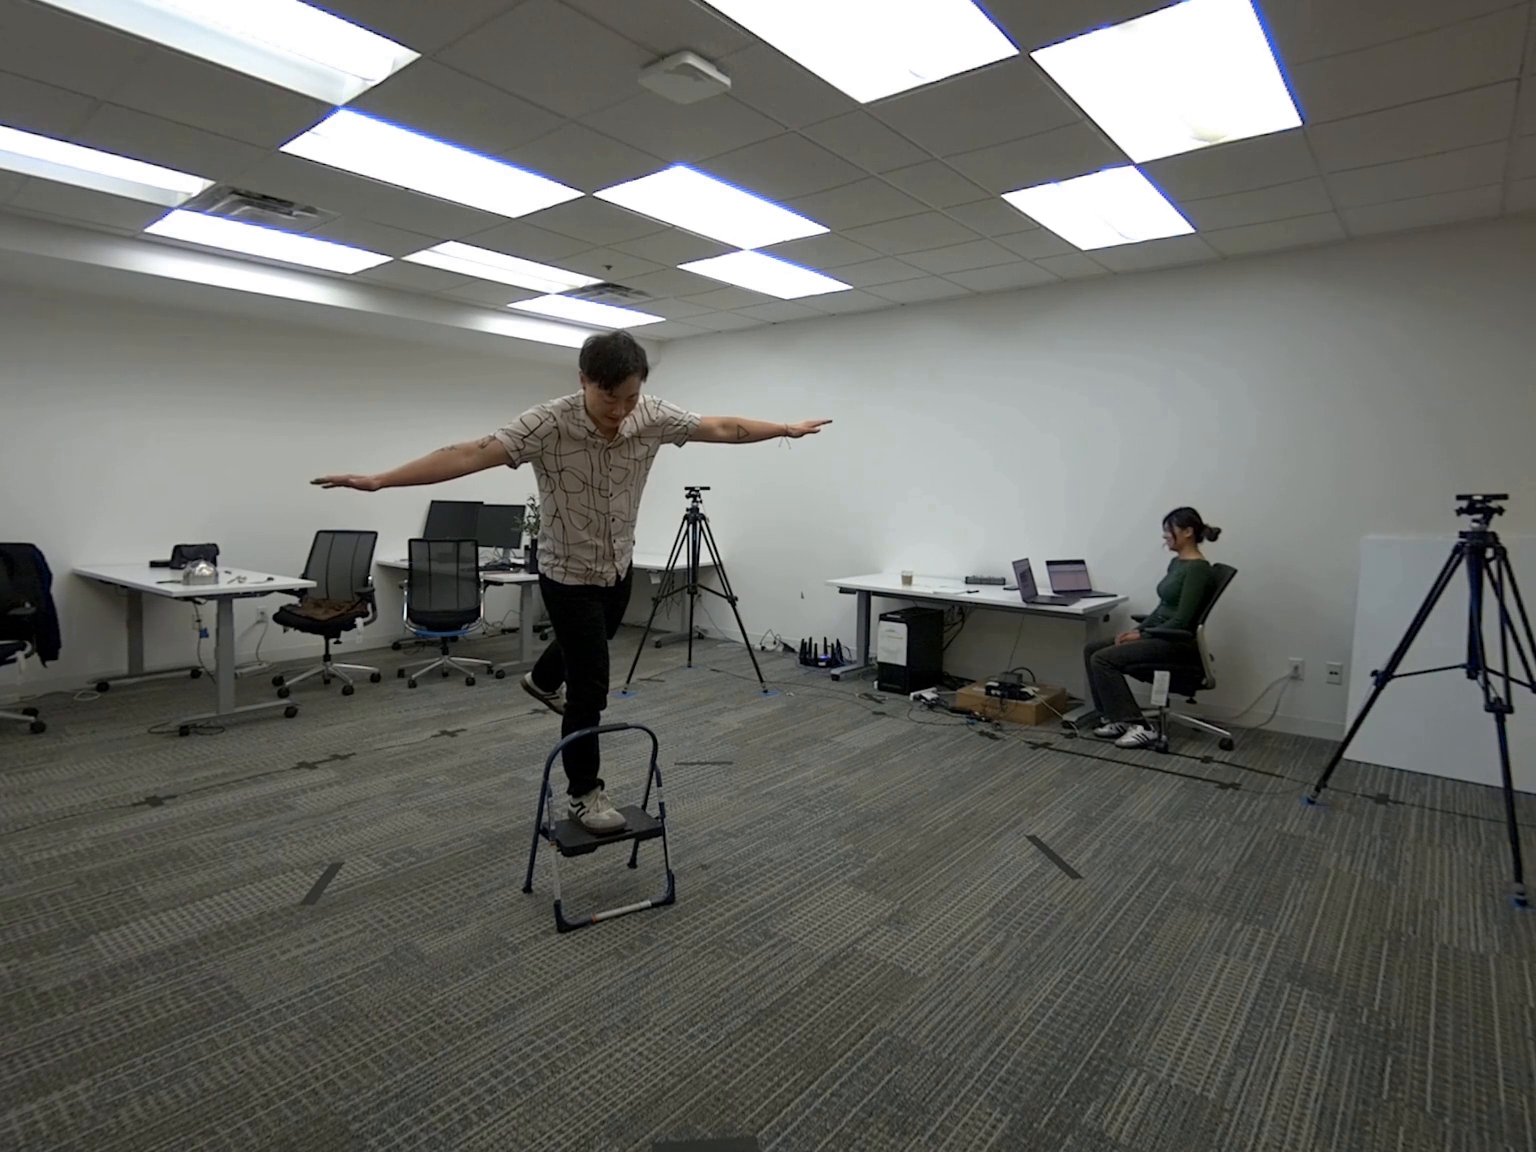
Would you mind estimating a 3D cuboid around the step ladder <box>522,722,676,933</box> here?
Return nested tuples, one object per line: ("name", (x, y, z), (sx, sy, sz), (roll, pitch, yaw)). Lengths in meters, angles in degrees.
("step ladder", (-0.580, 0.781, 2.870), (0.418, 0.604, 0.360), (-2, 4, -34))
